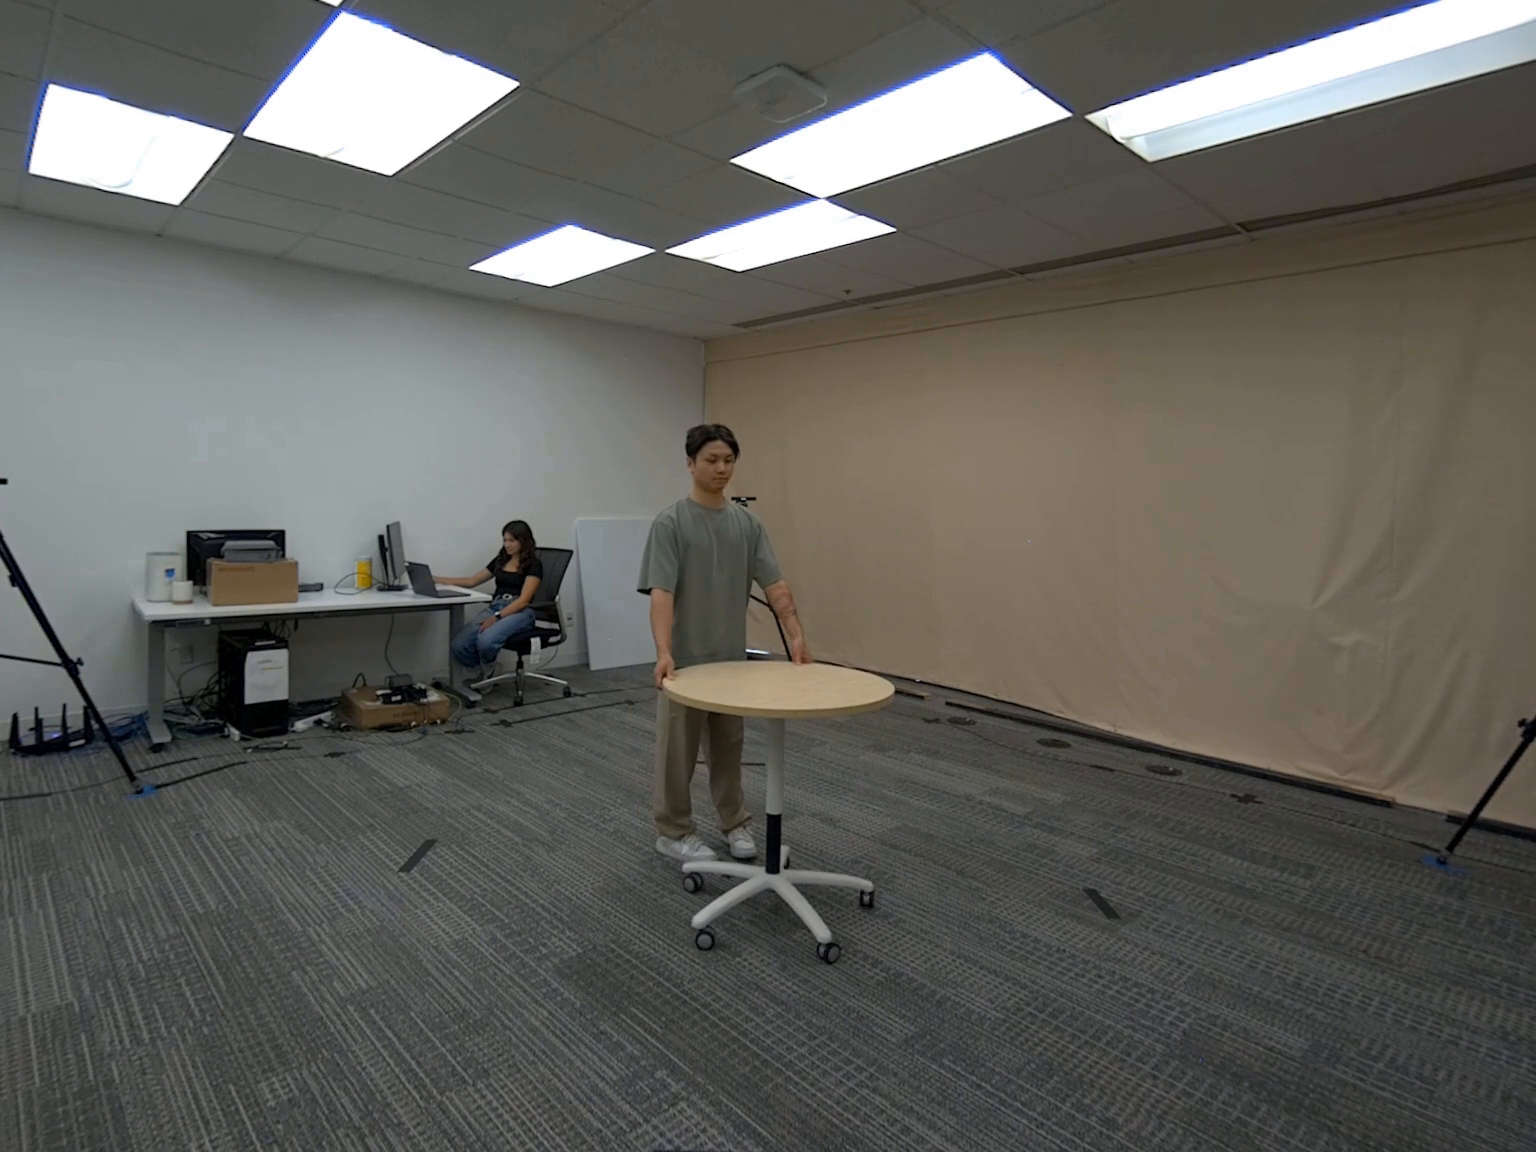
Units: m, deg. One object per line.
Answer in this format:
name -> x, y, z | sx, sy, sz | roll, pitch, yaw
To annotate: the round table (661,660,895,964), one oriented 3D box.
round table -> 0.024, 0.743, 2.803 | 0.784, 0.785, 0.787 | 1, 4, -1
